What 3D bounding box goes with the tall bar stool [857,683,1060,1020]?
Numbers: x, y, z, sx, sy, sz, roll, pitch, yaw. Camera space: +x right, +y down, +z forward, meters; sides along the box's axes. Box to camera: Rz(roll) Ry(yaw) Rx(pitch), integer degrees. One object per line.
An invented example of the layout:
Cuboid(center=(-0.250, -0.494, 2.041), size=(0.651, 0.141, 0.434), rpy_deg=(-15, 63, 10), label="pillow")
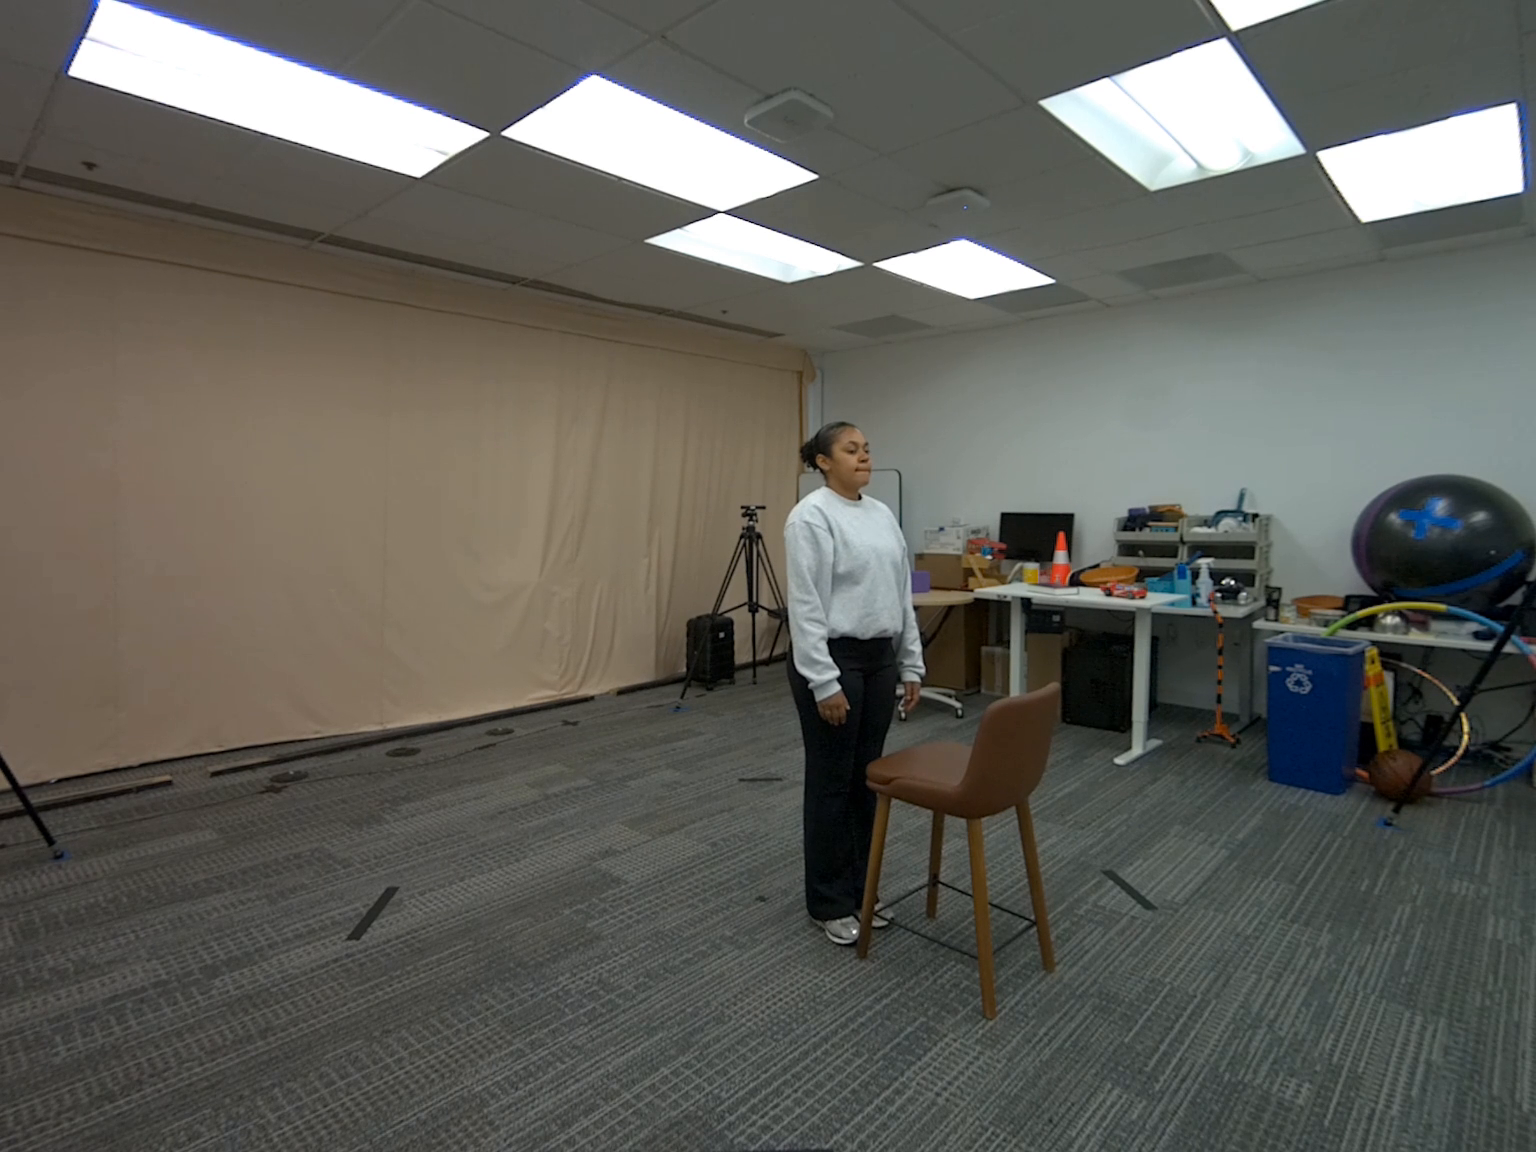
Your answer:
Cuboid(center=(0.576, 0.738, 2.539), size=(0.442, 0.887, 0.483), rpy_deg=(-4, 7, -44), label="tall bar stool")
